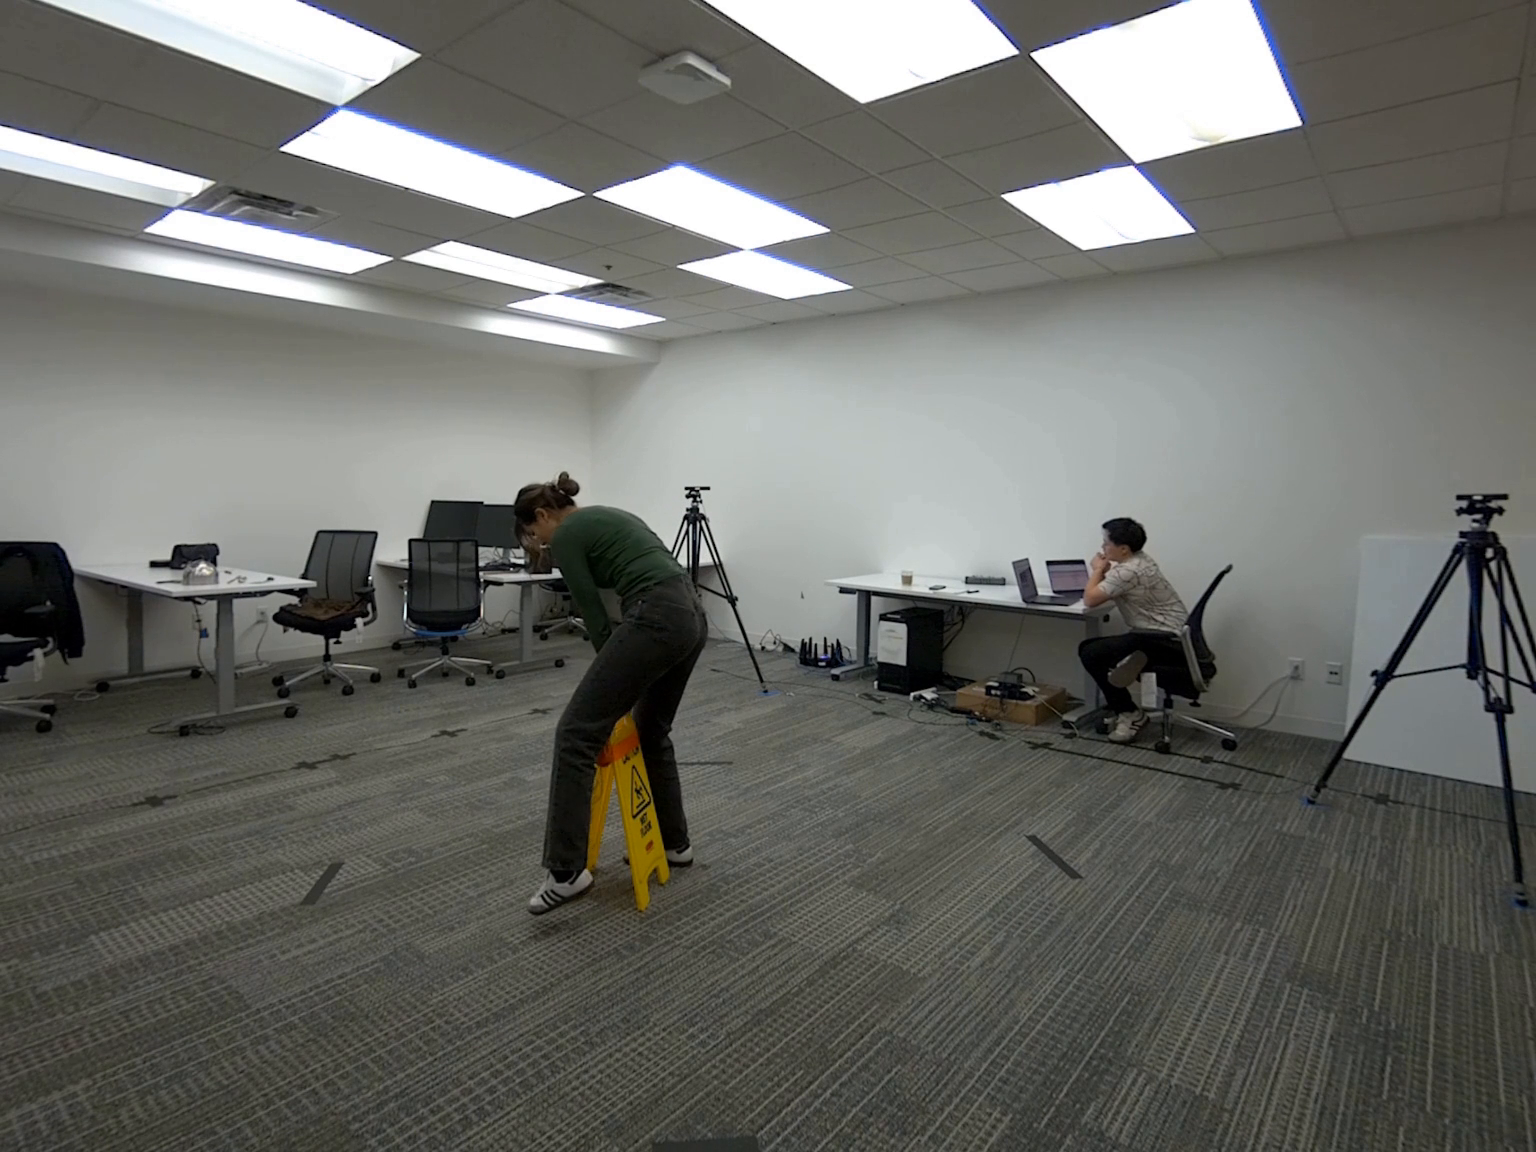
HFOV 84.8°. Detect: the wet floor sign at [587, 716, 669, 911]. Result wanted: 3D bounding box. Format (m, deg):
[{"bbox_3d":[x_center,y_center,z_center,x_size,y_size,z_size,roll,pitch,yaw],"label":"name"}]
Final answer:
[{"bbox_3d":[-0.530,0.759,2.927,0.294,0.644,0.279,2,3,14],"label":"wet floor sign"}]
